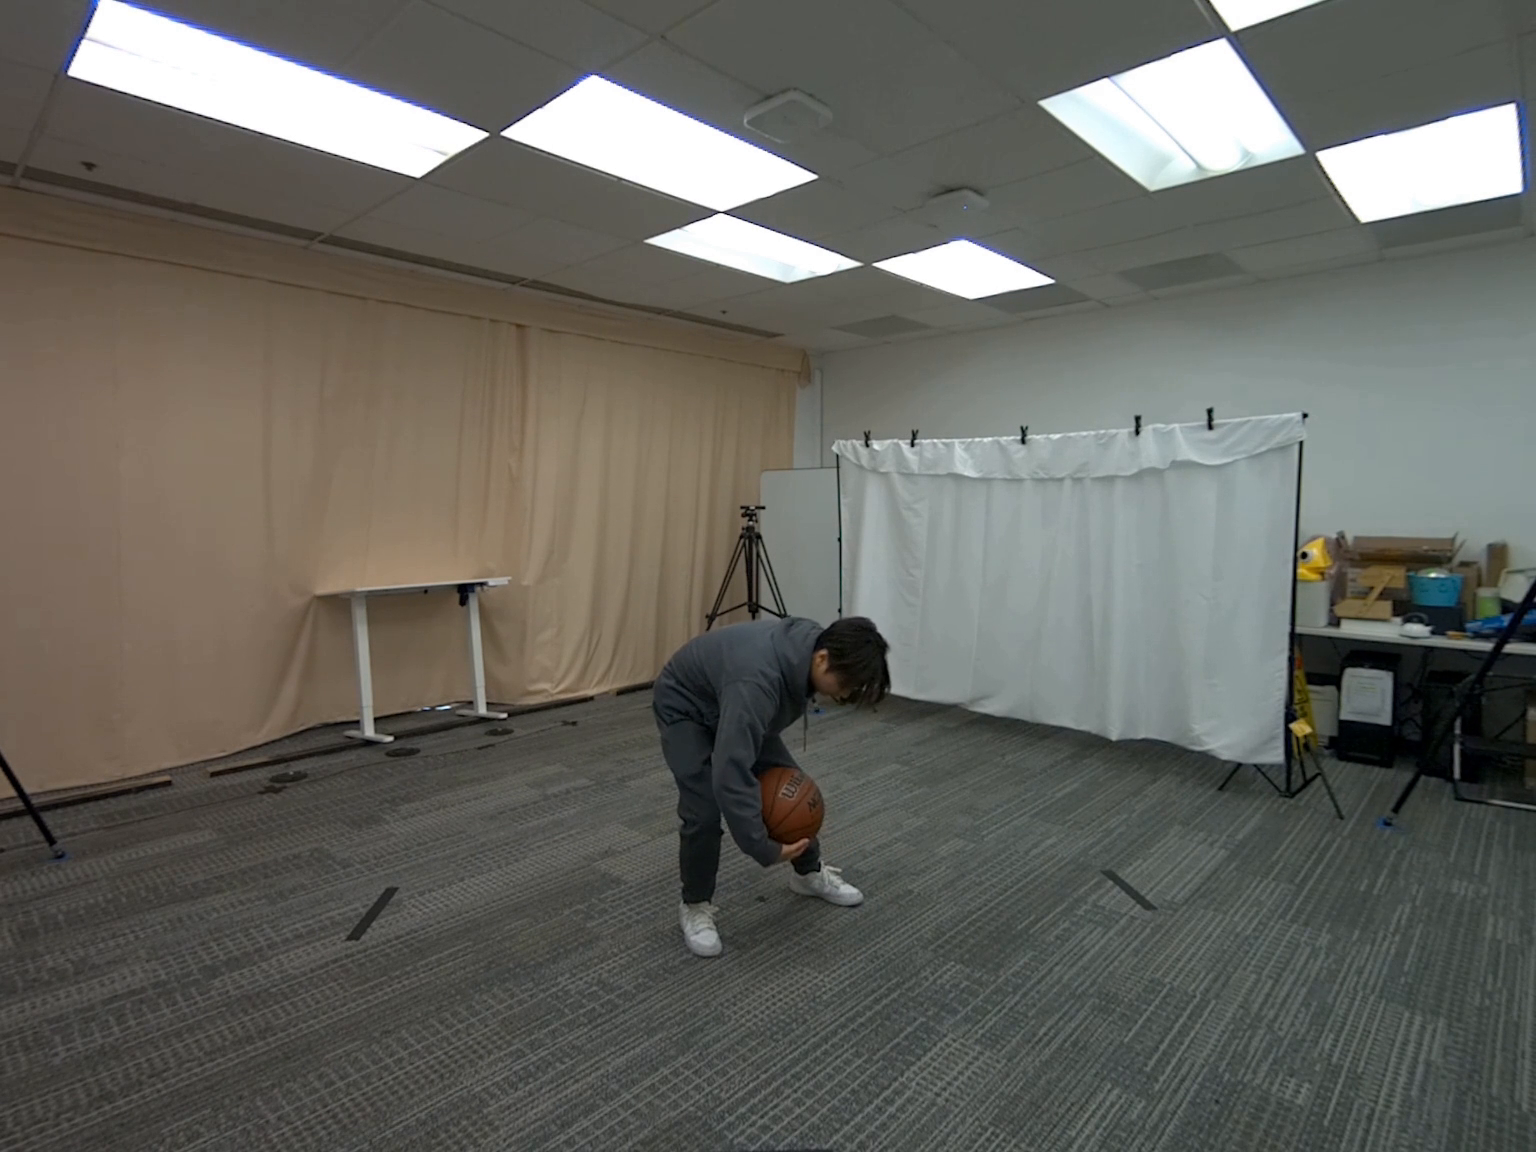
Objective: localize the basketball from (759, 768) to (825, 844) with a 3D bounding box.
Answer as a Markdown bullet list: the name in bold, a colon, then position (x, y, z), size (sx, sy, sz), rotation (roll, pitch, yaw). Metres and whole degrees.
- **basketball**: position (0.044, 0.694, 2.526), size (0.236, 0.235, 0.237), rotation (0, 4, -2)
